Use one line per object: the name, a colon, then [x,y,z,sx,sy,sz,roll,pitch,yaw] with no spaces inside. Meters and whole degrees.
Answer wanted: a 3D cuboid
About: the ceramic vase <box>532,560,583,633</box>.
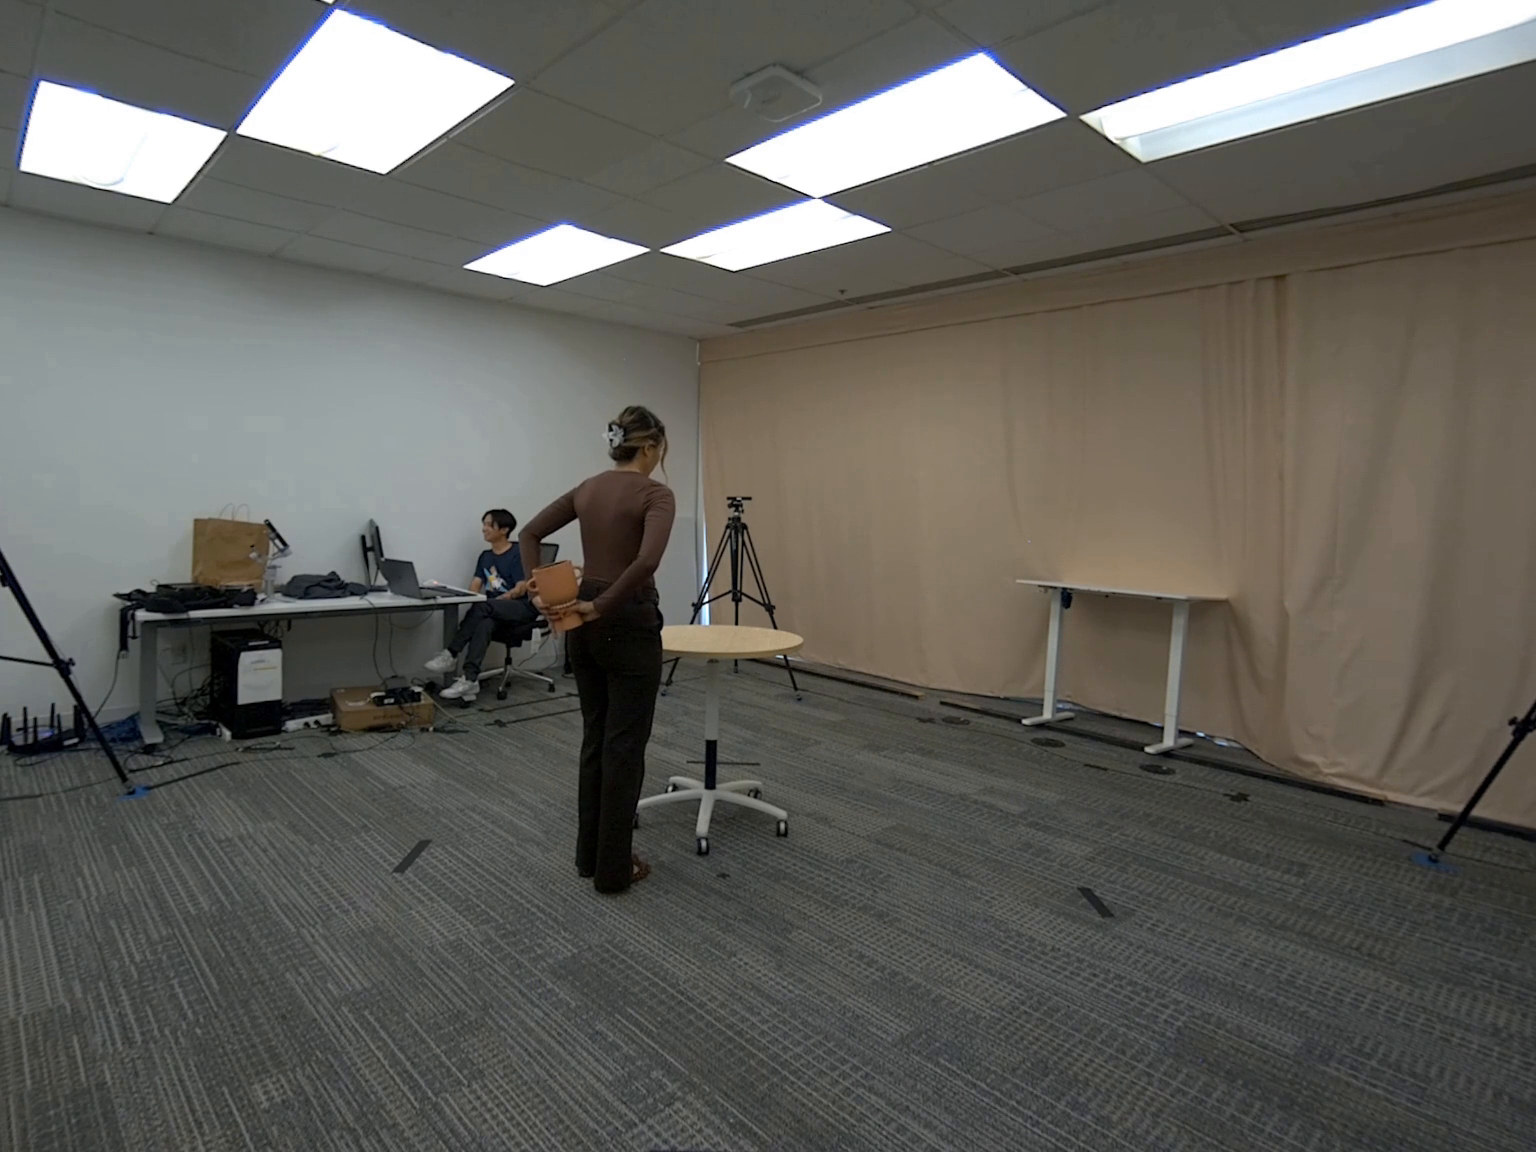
ceramic vase: [-0.714,0.066,2.860,0.160,0.219,0.134,-14,5,12]
